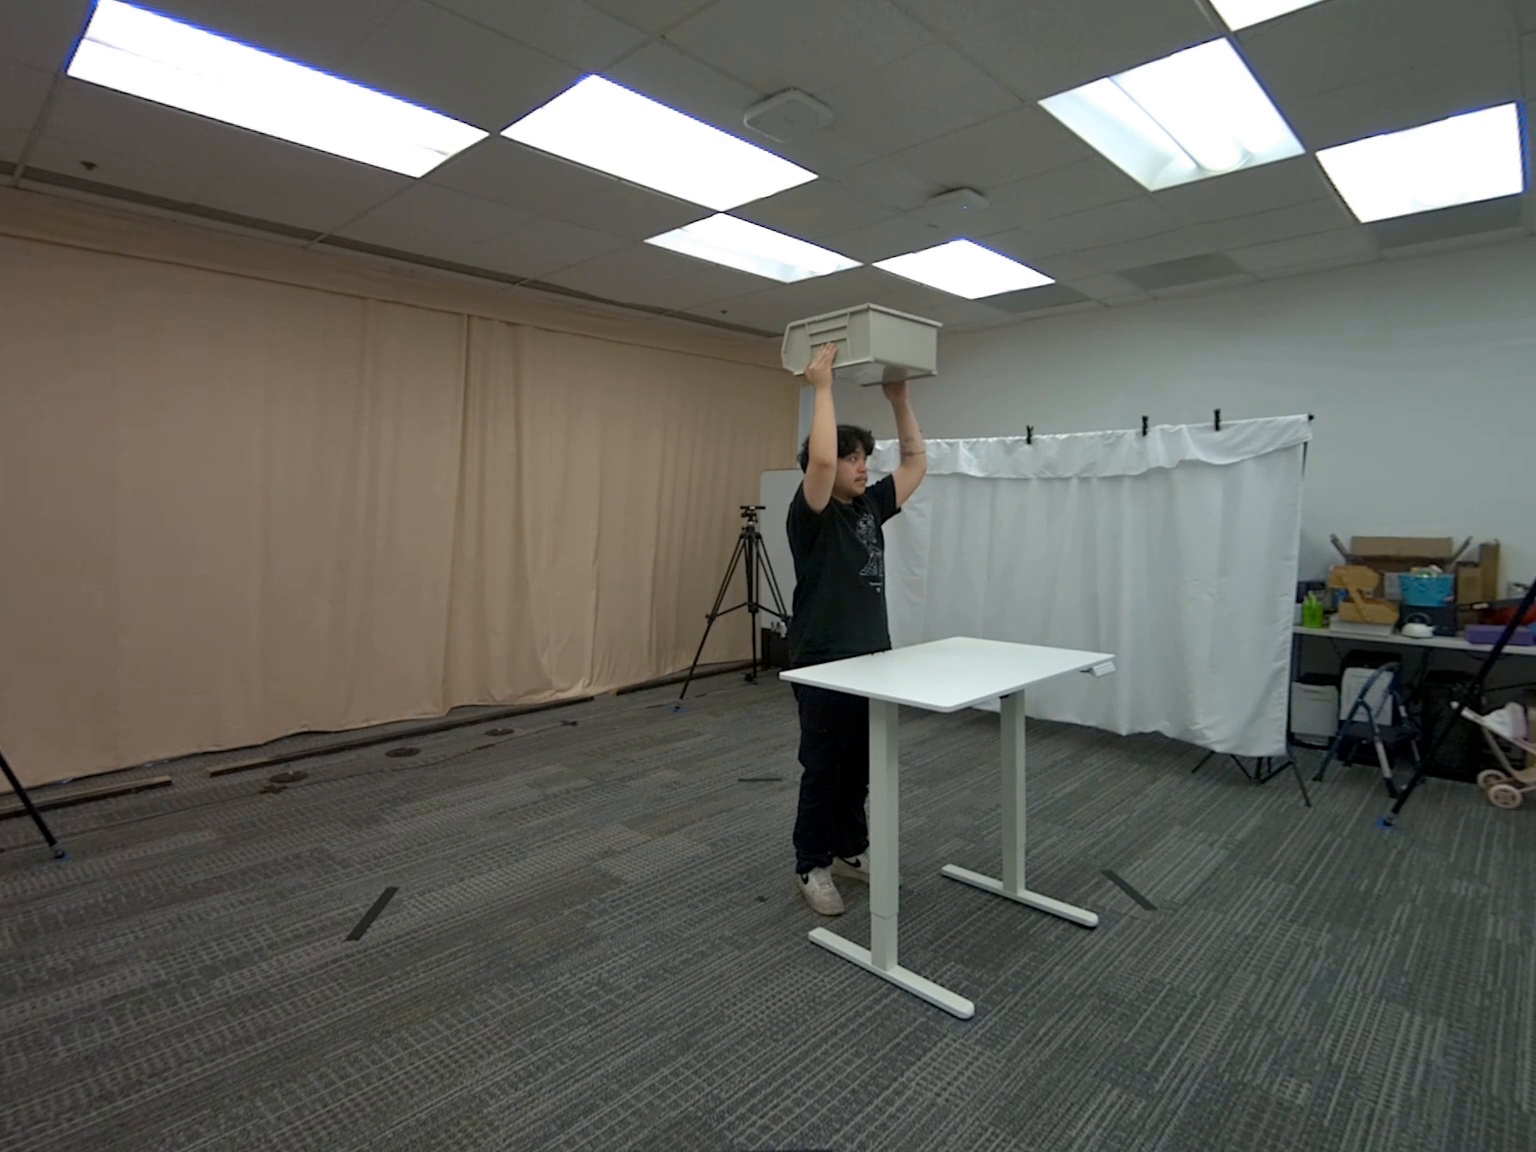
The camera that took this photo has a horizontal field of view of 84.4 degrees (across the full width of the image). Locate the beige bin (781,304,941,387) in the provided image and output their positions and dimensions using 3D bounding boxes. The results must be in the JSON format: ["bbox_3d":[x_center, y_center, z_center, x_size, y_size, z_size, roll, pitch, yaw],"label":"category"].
[{"bbox_3d":[0.329,-0.783,2.922,0.390,0.189,0.409,2,4,44],"label":"beige bin"}]
